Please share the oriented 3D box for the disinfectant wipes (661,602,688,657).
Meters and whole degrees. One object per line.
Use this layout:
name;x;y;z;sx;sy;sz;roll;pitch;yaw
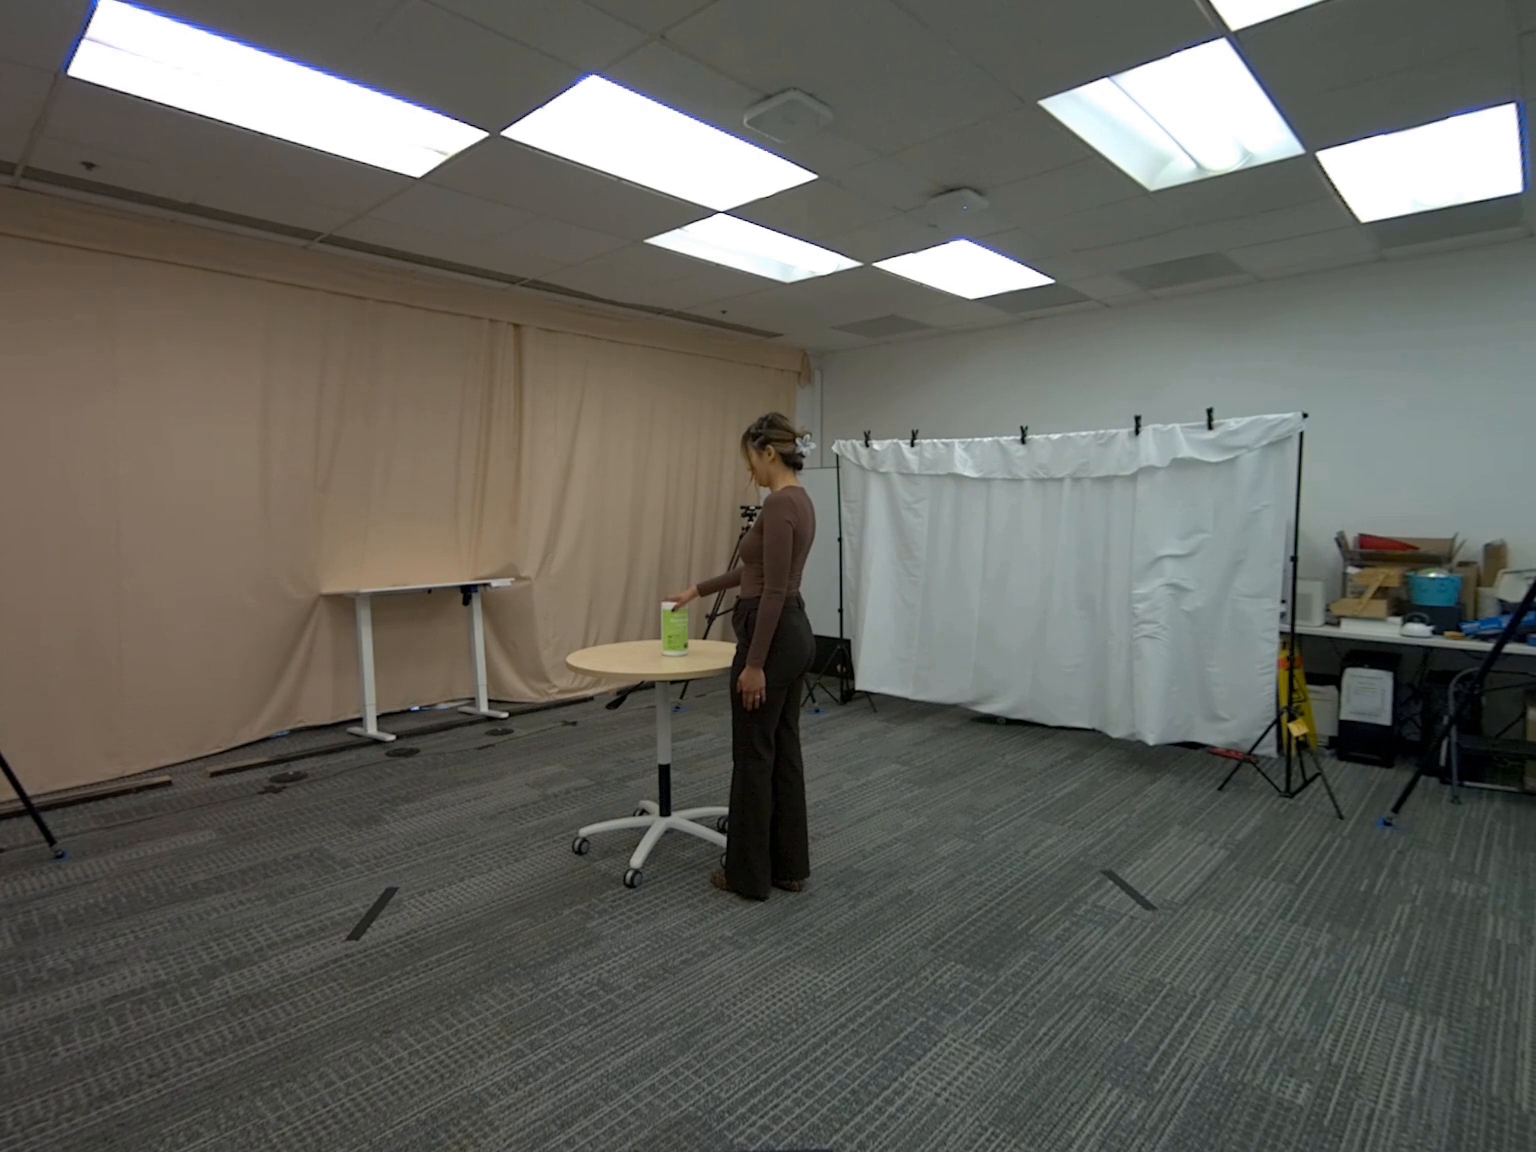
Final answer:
disinfectant wipes;-0.376;0.210;3.392;0.117;0.217;0.118;2;4;-2
